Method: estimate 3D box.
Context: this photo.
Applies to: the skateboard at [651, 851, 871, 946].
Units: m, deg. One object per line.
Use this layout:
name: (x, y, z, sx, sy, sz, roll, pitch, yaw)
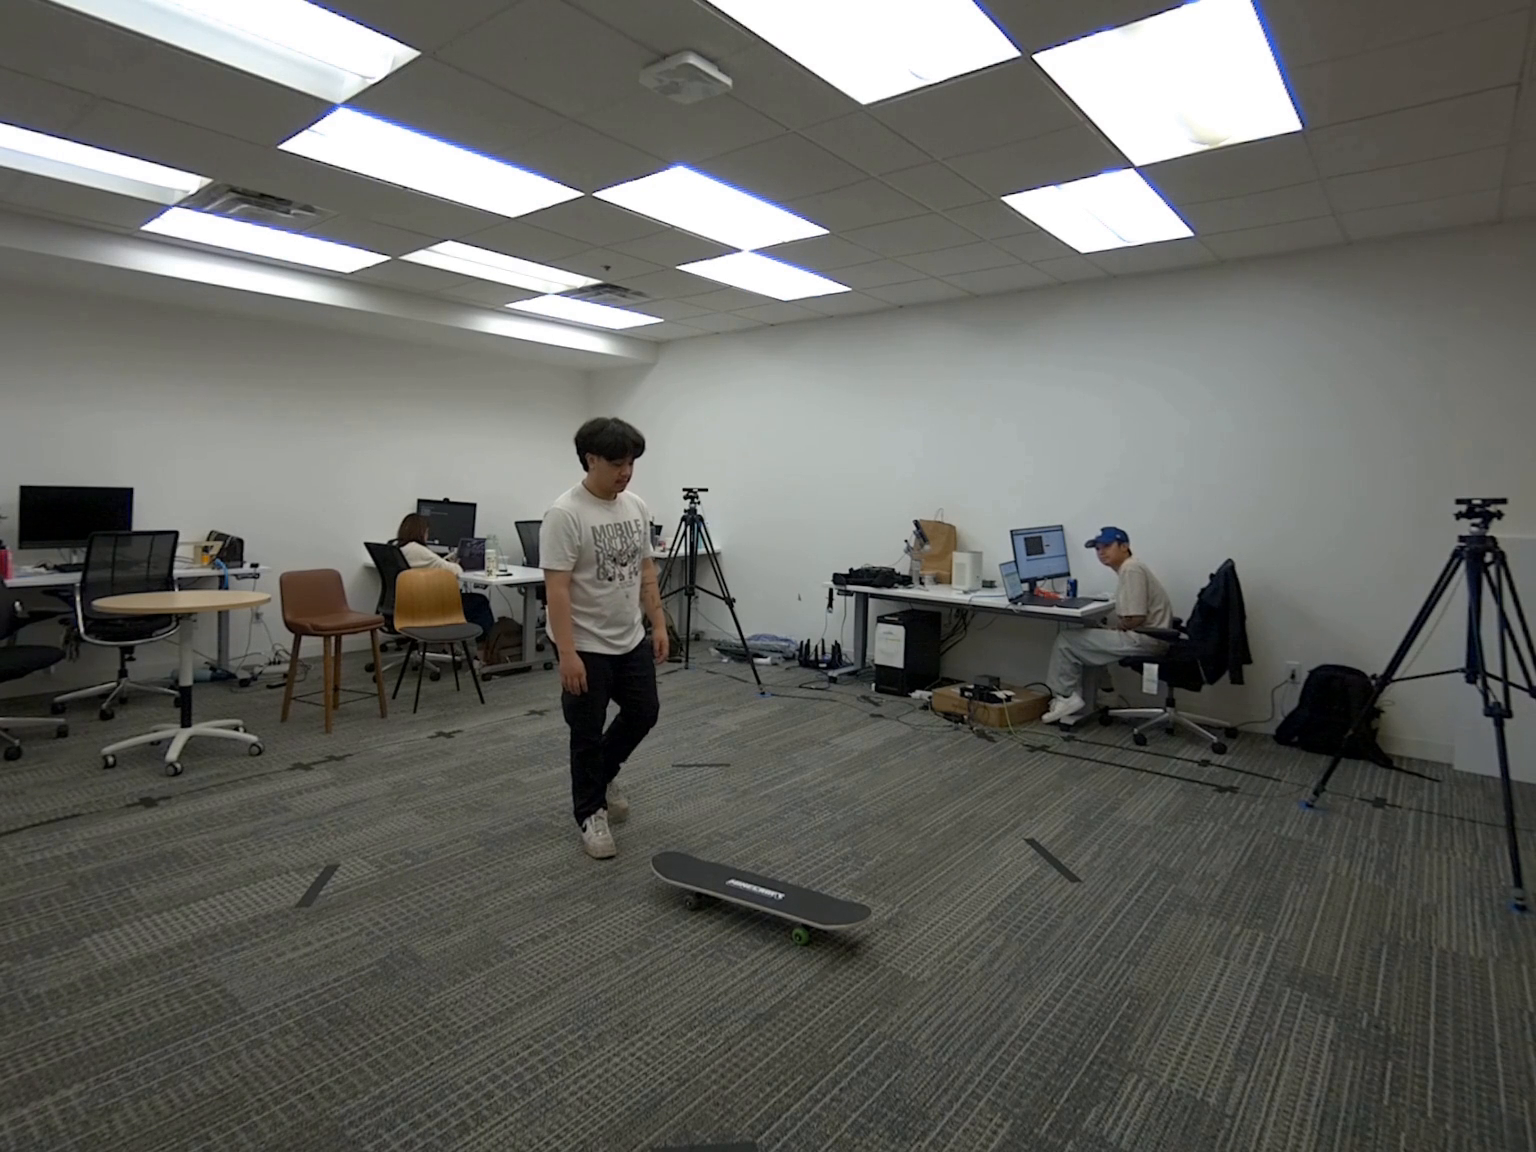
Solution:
skateboard: (-0.052, 1.048, 2.769, 0.808, 0.110, 0.188, 4, 5, 29)
